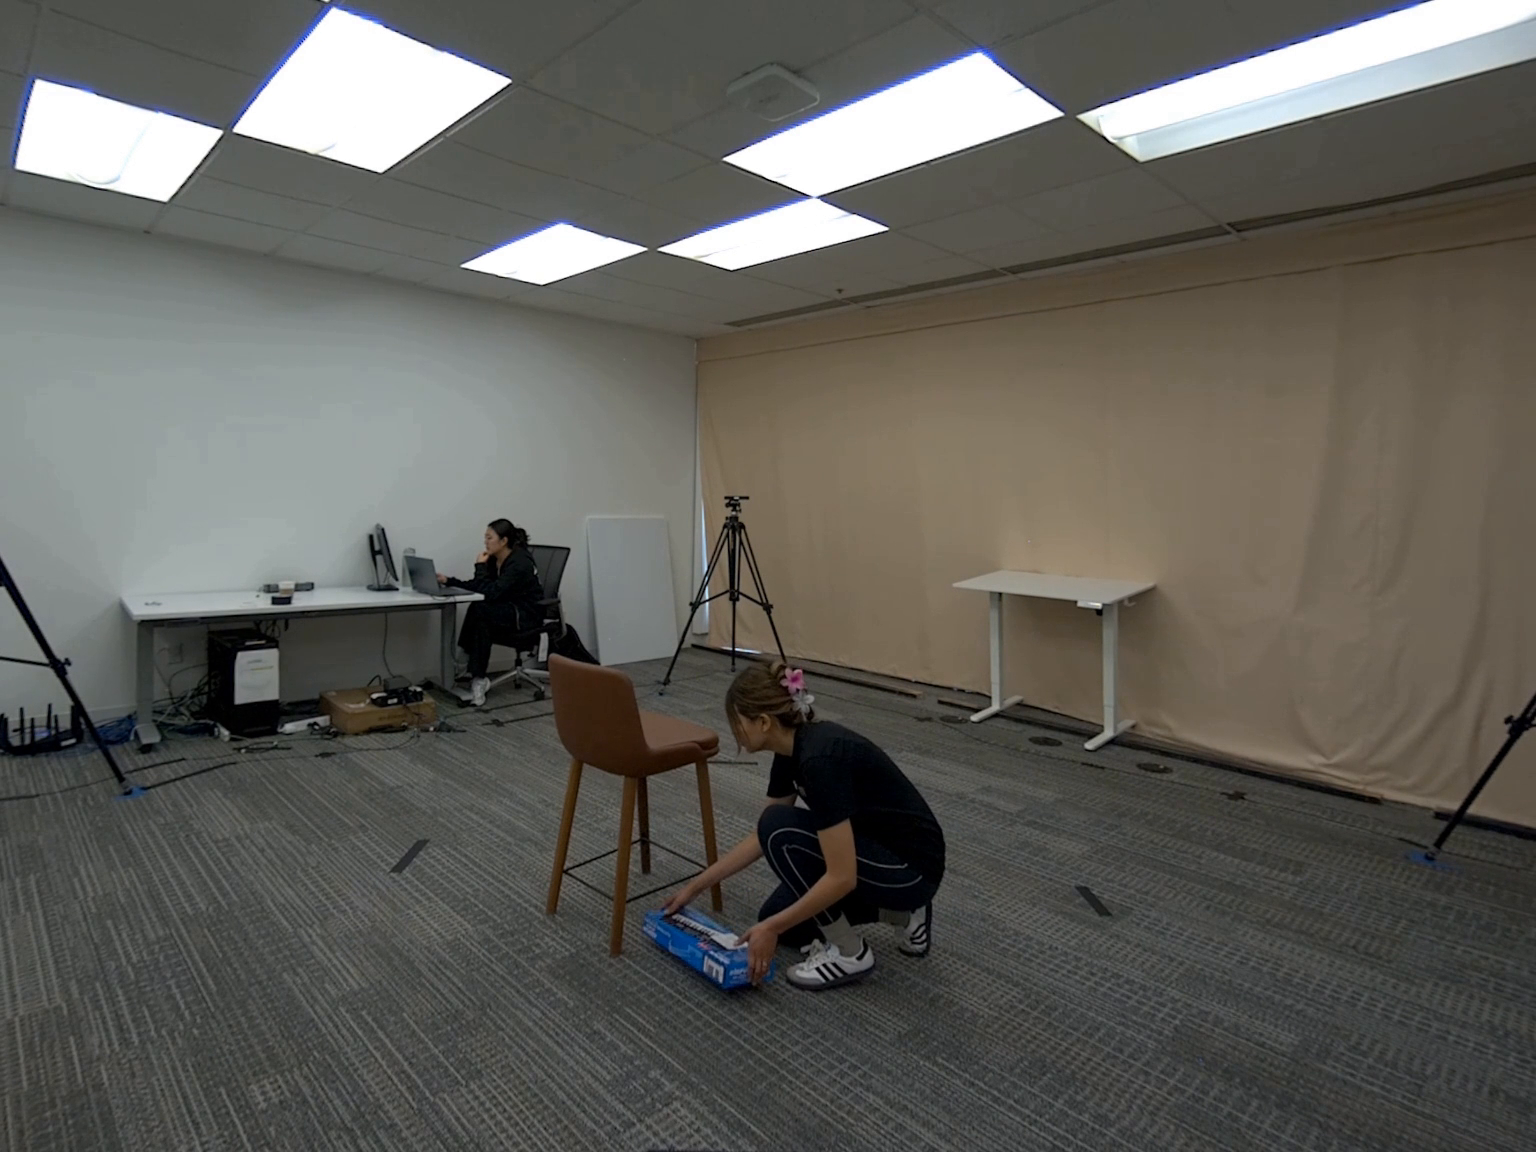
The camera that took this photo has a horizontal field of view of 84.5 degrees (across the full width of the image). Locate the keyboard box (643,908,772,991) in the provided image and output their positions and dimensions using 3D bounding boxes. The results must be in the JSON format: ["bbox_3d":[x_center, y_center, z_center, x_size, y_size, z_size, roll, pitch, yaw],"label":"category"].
[{"bbox_3d":[-0.184,1.097,2.489,0.171,0.059,0.447,8,-4,-39],"label":"keyboard box"}]
